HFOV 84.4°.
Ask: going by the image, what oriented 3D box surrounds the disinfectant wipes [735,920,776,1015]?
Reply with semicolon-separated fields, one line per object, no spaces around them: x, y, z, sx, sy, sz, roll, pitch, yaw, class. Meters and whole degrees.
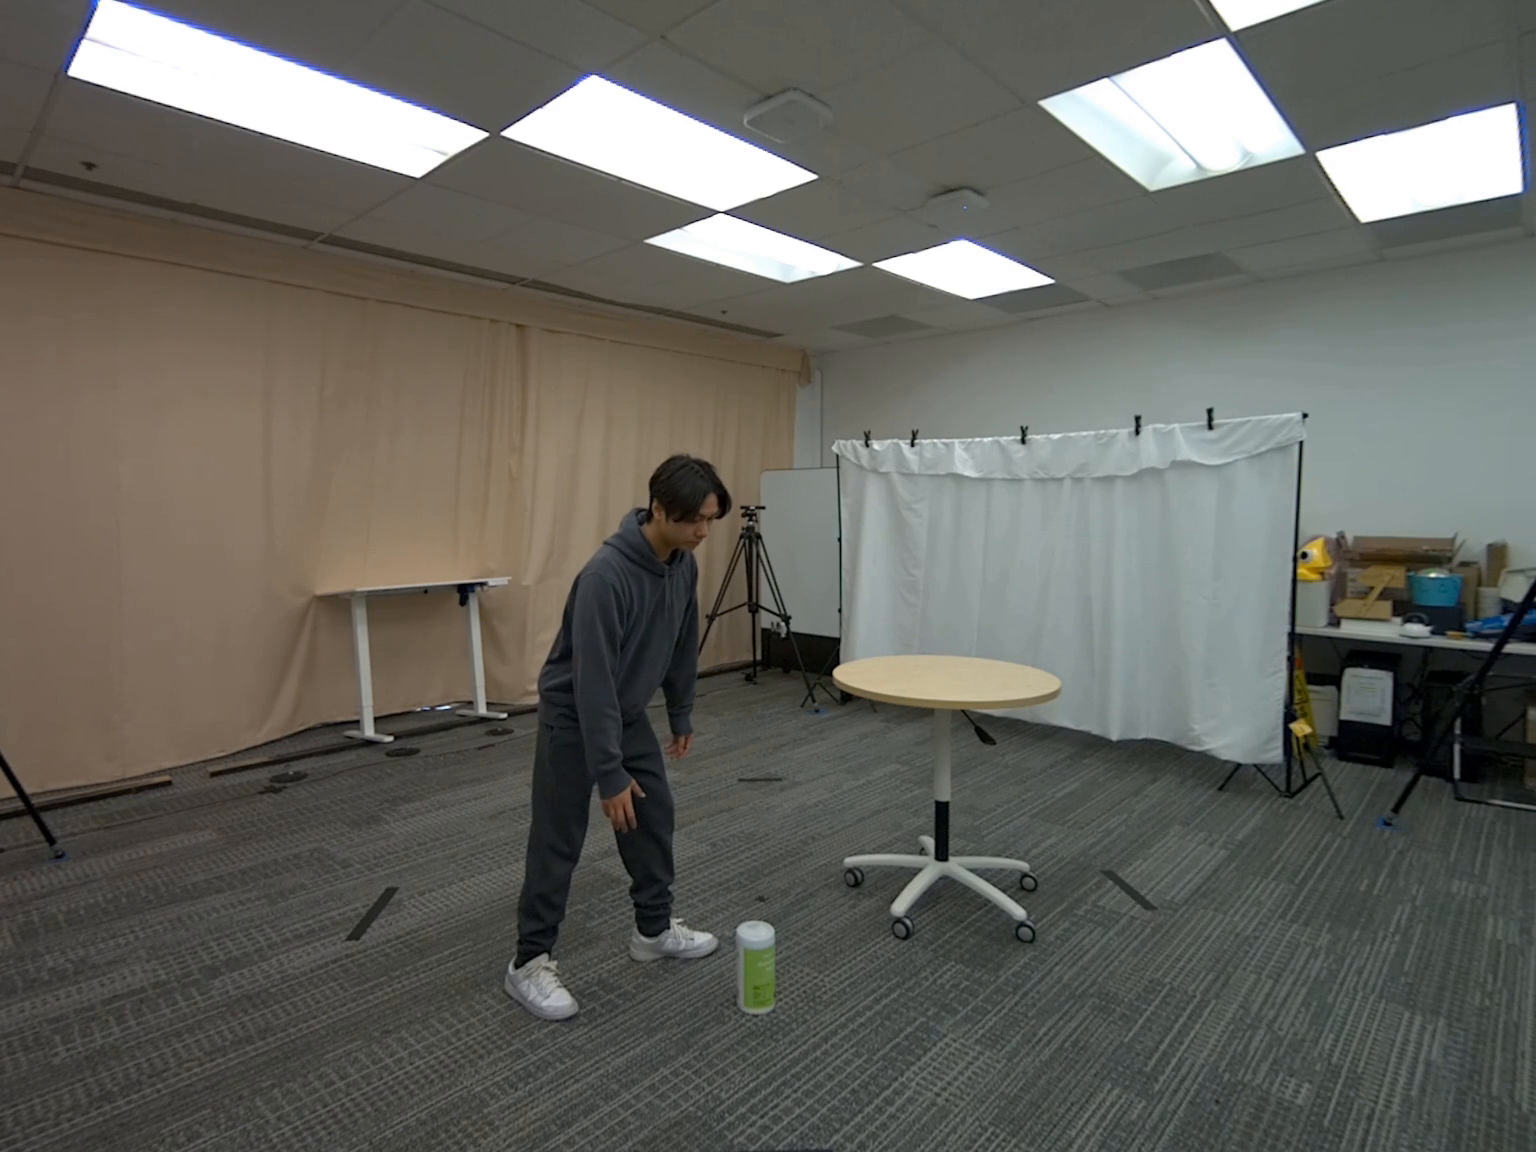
-0.033;1.093;2.335;0.117;0.217;0.118;1;5;-2;disinfectant wipes
